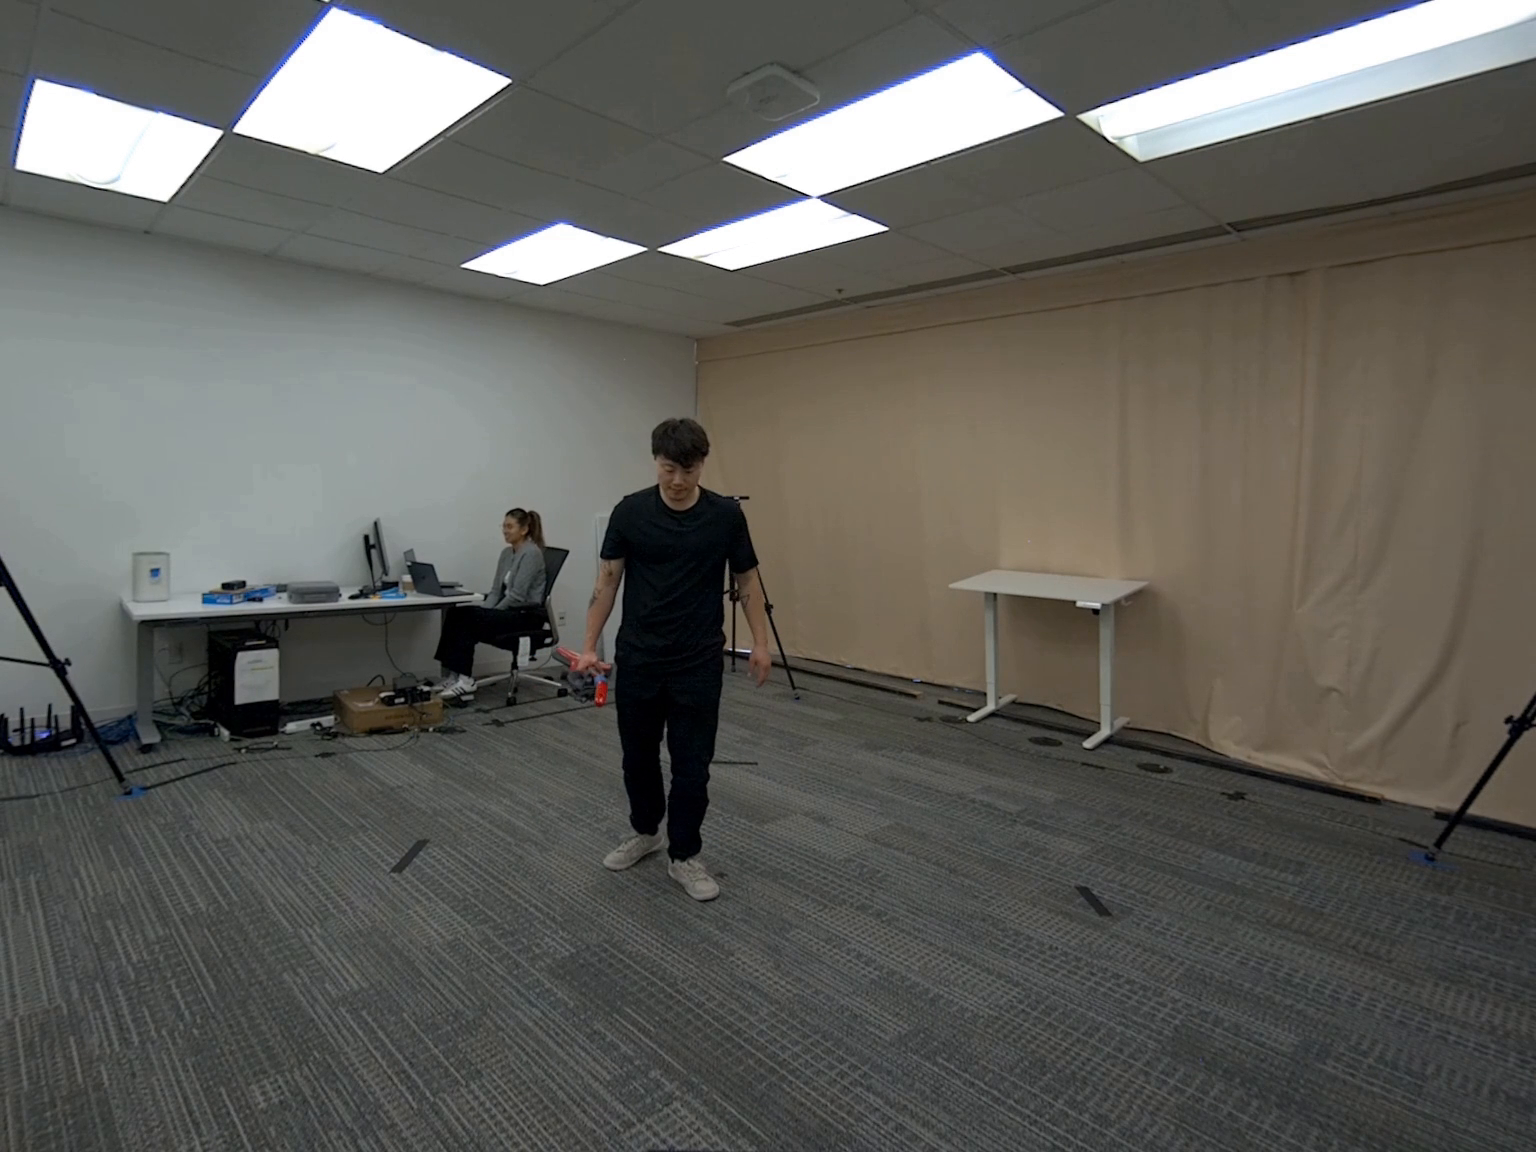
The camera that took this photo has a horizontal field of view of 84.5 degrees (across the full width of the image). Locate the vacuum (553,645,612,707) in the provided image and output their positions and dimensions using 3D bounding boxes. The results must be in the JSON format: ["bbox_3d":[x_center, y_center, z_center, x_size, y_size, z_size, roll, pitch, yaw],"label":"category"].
[{"bbox_3d":[-0.621,0.371,2.908,0.249,0.144,1.059,25,-9,-14],"label":"vacuum"}]
